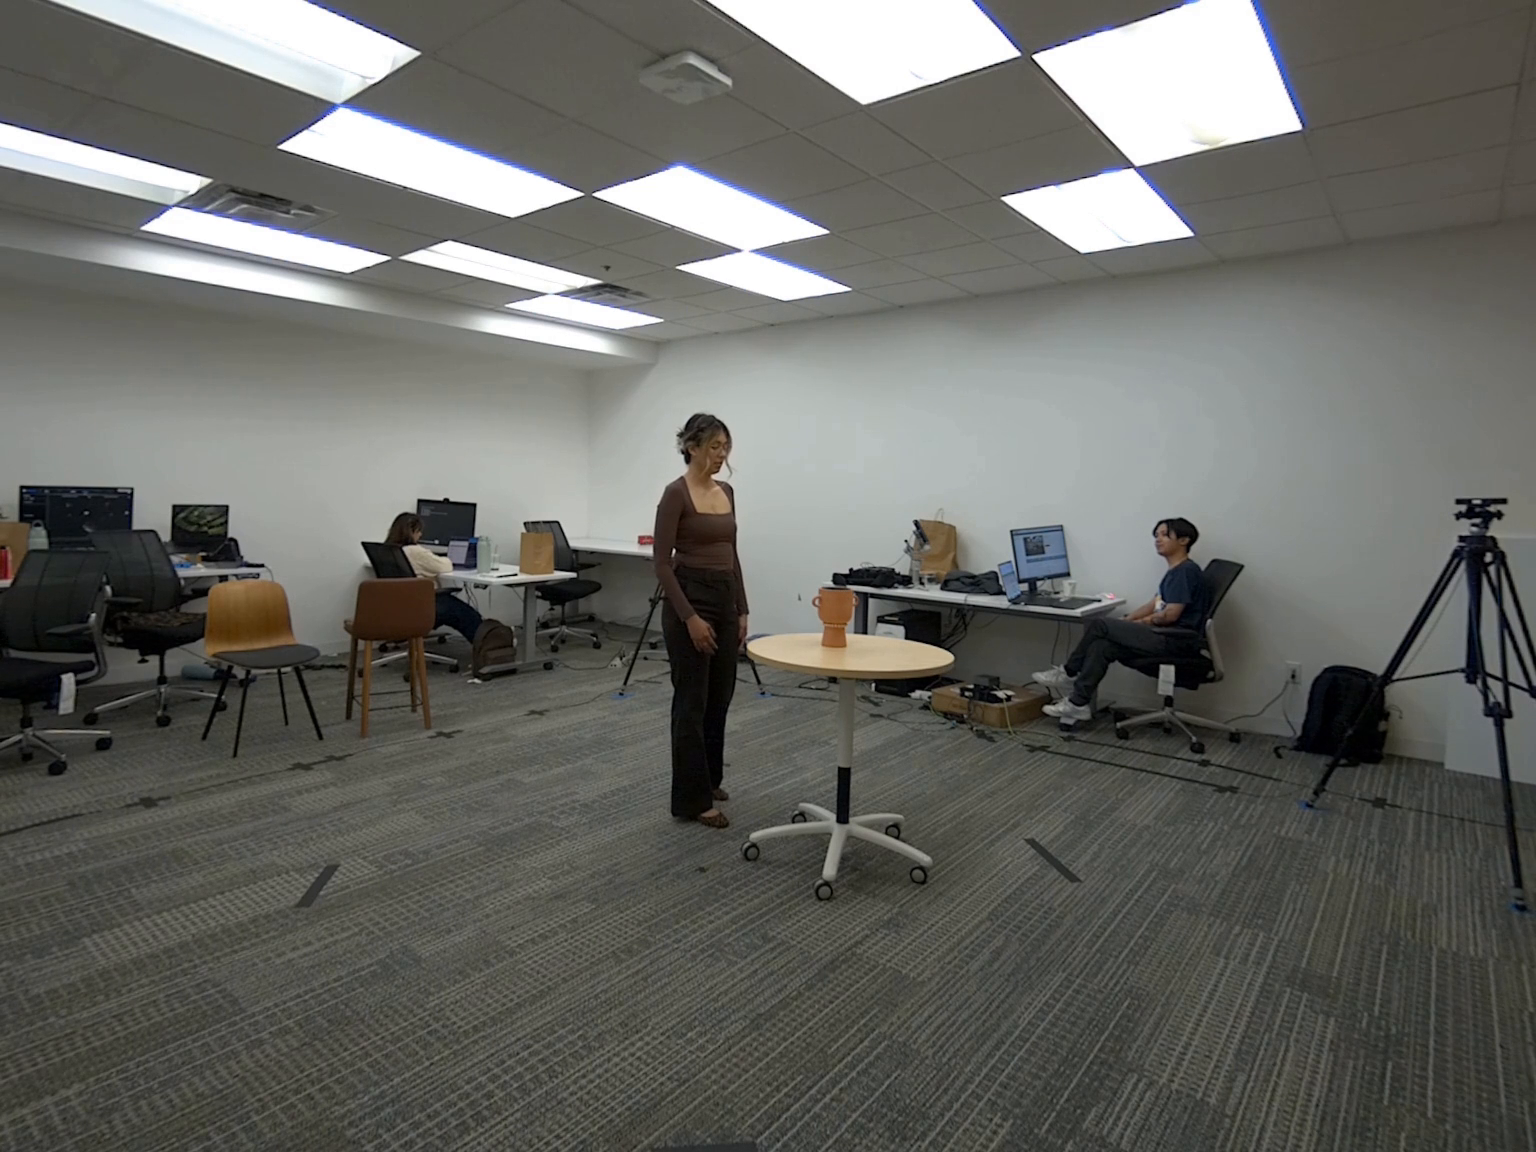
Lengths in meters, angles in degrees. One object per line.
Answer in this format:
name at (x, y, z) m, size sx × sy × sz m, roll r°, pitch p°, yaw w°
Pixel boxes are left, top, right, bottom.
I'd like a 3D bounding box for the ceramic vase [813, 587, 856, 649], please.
ceramic vase at (0.252, 0.156, 3.279) m, size 0.162 × 0.219 × 0.132 m, roll 3°, pitch 3°, yaw 17°
